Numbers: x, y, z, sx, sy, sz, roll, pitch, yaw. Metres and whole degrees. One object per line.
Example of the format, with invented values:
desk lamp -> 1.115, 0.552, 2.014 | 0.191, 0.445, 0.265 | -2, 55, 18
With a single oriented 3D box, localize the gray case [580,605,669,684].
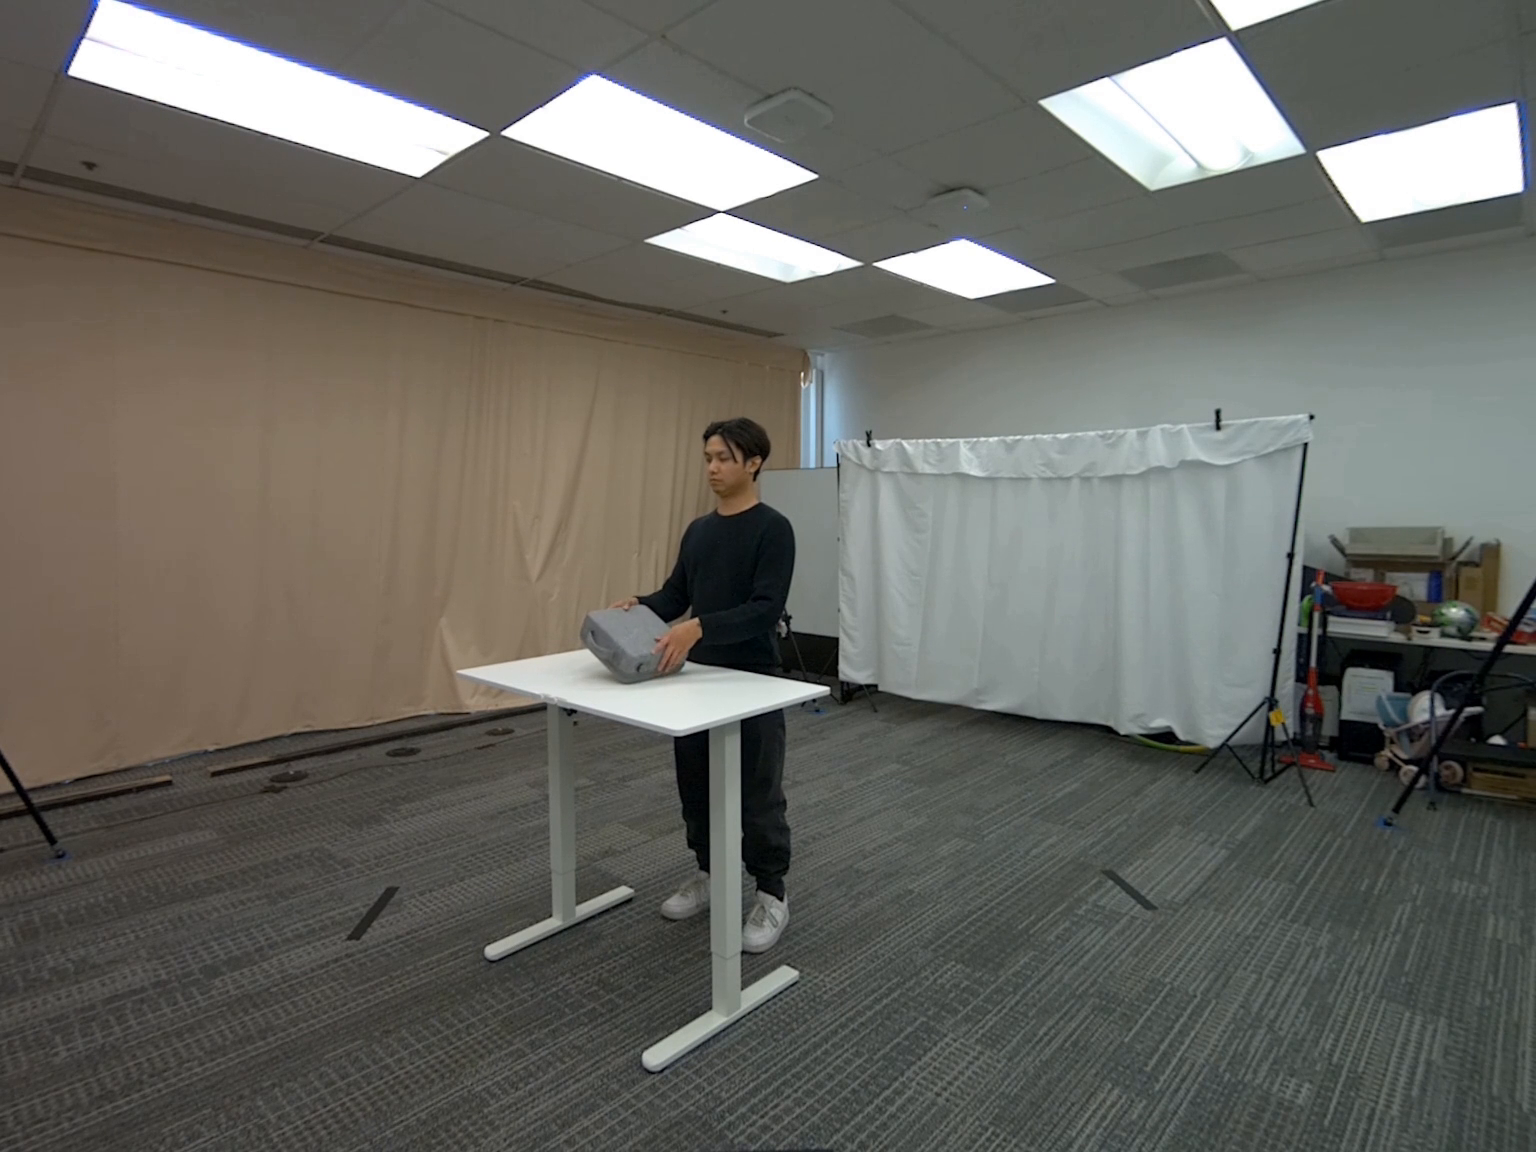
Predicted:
gray case -> -0.404, 0.204, 2.542 | 0.253, 0.104, 0.266 | -6, 34, -47
